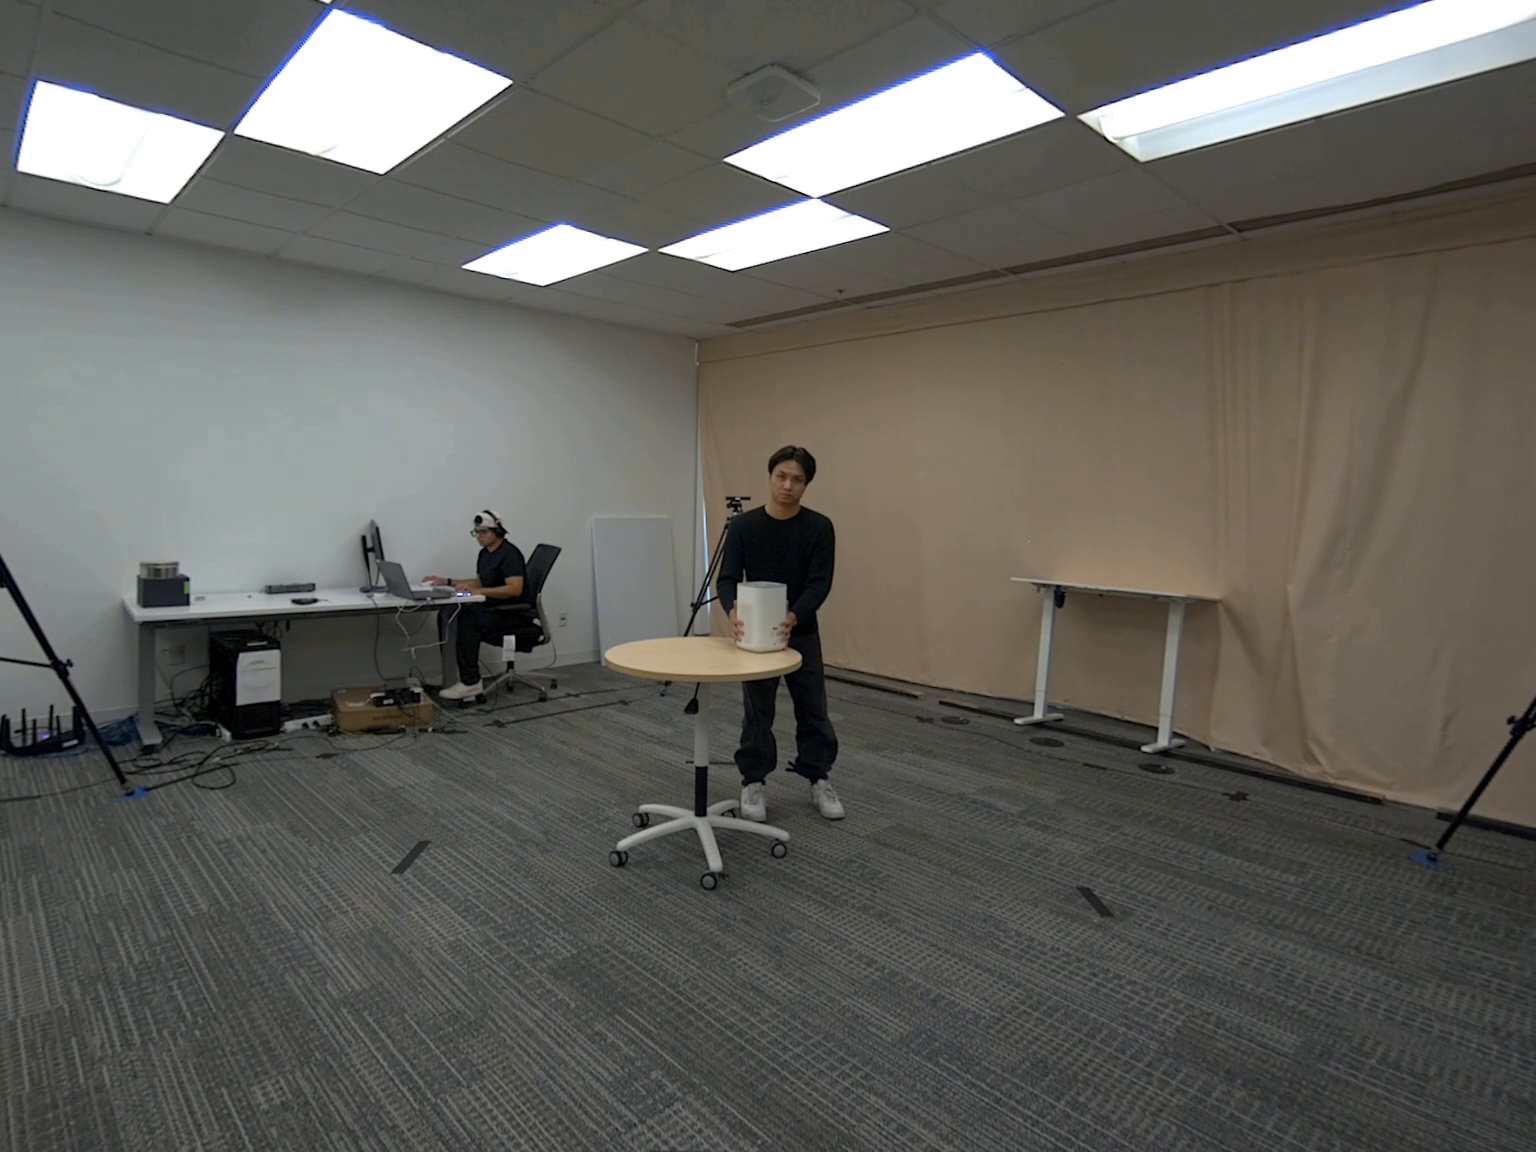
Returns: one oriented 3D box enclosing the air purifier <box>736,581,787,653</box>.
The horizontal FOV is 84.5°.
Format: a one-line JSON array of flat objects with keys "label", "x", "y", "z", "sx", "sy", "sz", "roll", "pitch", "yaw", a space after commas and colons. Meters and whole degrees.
[{"label": "air purifier", "x": -0.039, "y": 0.164, "z": 3.393, "sx": 0.167, "sy": 0.265, "sz": 0.176, "roll": -2, "pitch": 5, "yaw": -40}]
